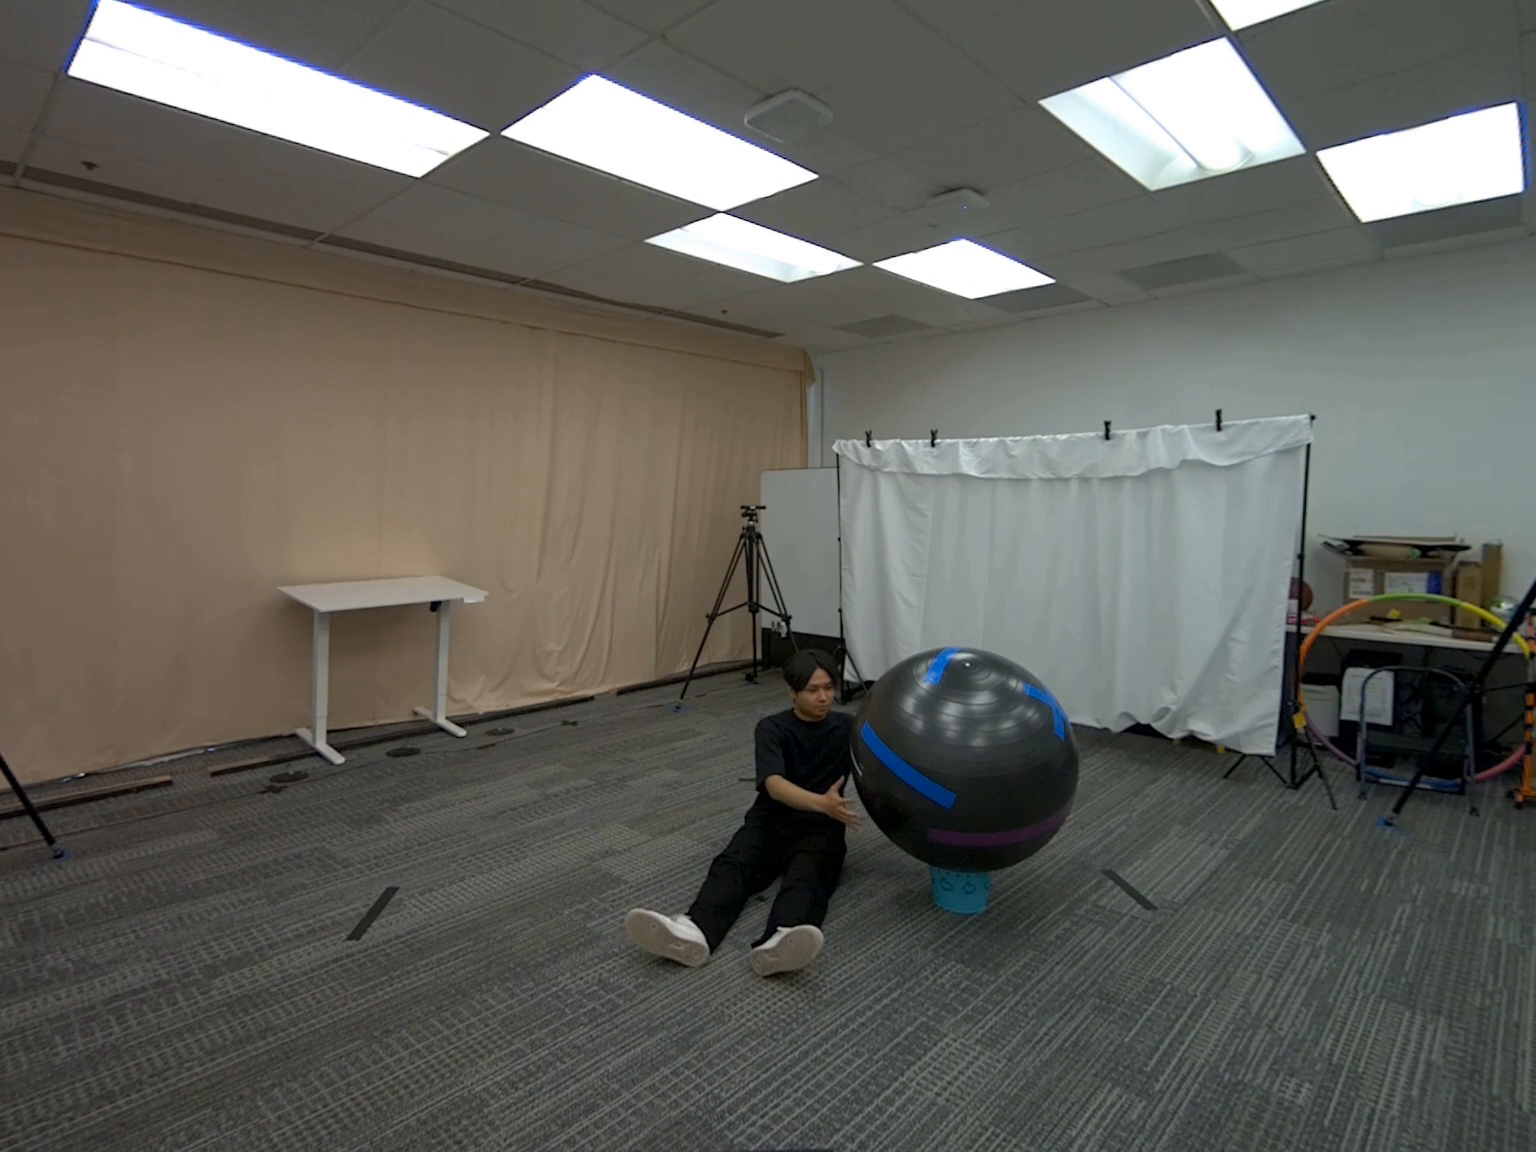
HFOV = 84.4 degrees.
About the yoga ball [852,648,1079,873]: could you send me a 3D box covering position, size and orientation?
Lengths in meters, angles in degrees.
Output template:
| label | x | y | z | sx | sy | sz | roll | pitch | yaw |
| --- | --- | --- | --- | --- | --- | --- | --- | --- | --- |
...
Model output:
| label | x | y | z | sx | sy | sz | roll | pitch | yaw |
| --- | --- | --- | --- | --- | --- | --- | --- | --- | --- |
| yoga ball | 0.686 | 0.642 | 2.933 | 0.757 | 0.756 | 0.760 | 0 | 4 | -2 |
